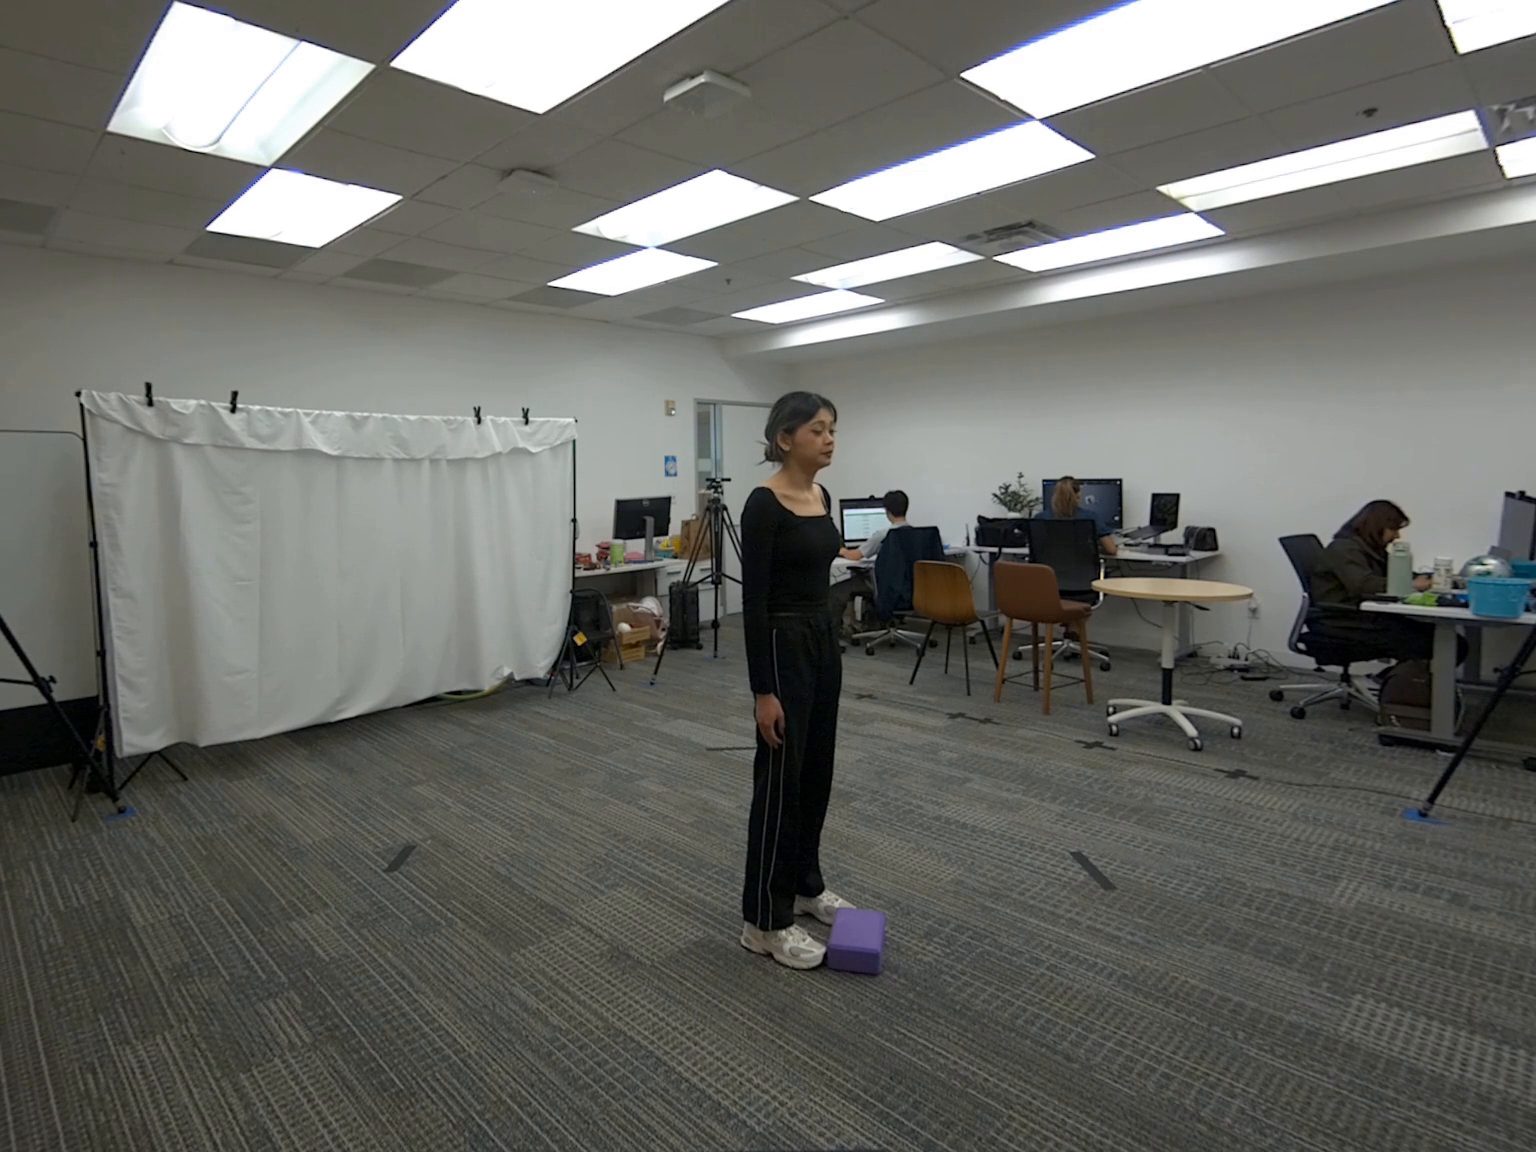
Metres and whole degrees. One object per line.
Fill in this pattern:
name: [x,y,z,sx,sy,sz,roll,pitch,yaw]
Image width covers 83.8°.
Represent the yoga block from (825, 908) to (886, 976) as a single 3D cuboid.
yoga block: [0.265,1.065,2.511,0.151,0.076,0.227,0,5,14]
